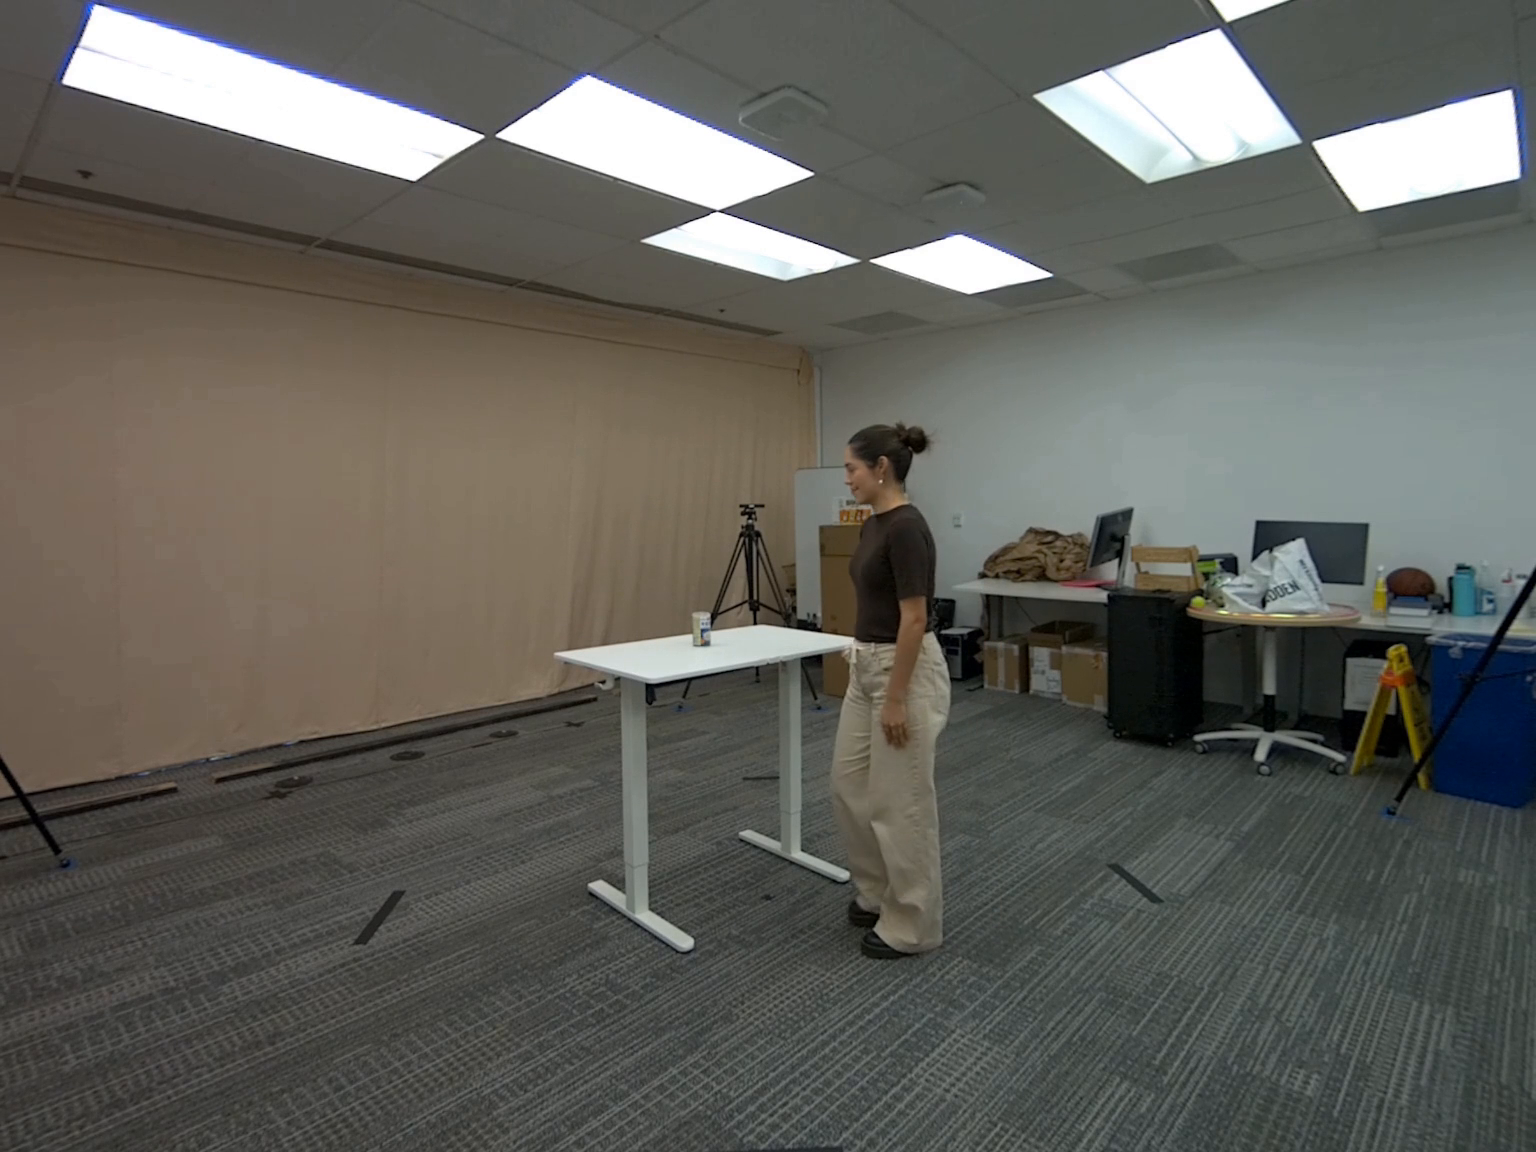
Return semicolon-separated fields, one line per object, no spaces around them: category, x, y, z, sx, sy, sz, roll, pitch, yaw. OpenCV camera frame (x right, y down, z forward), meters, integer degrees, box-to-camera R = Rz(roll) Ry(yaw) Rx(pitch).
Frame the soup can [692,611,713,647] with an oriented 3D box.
soup can;-0.243;0.197;3.061;0.067;0.121;0.067;2;2;-2
